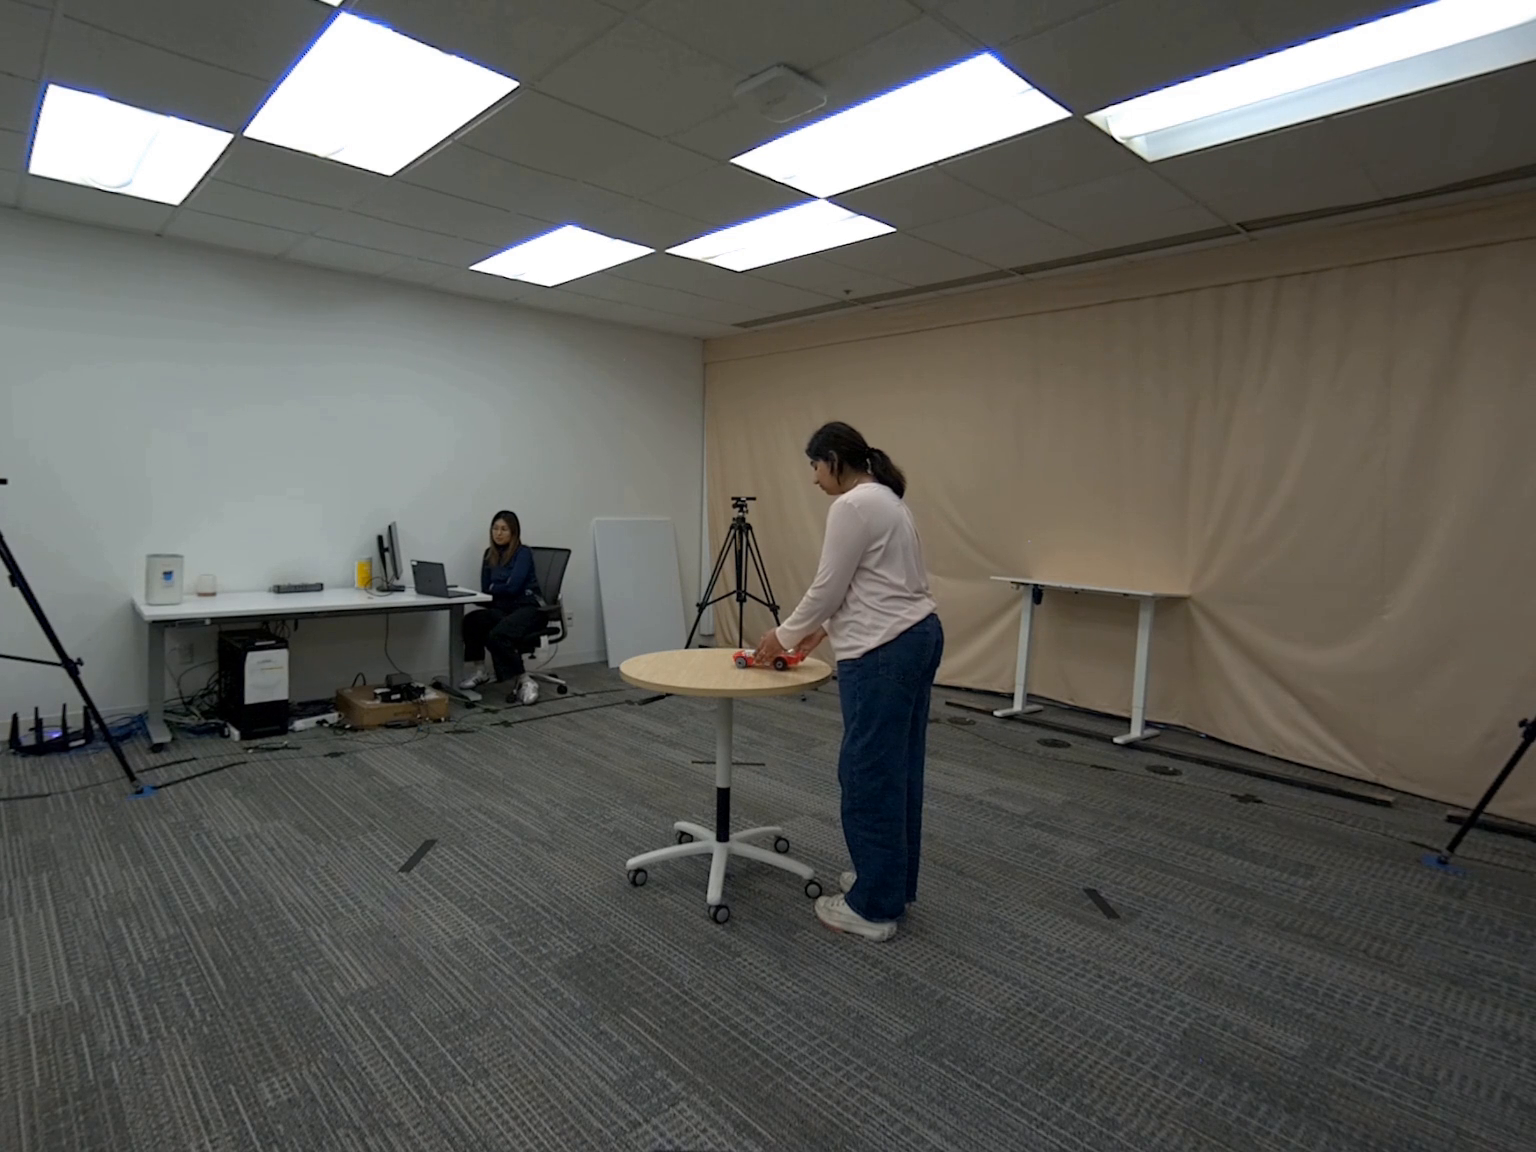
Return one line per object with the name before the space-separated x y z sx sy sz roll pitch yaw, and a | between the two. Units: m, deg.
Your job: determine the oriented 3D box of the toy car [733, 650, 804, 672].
toy car | -0.001 0.297 3.039 0.257 0.083 0.129 -9 1 13
